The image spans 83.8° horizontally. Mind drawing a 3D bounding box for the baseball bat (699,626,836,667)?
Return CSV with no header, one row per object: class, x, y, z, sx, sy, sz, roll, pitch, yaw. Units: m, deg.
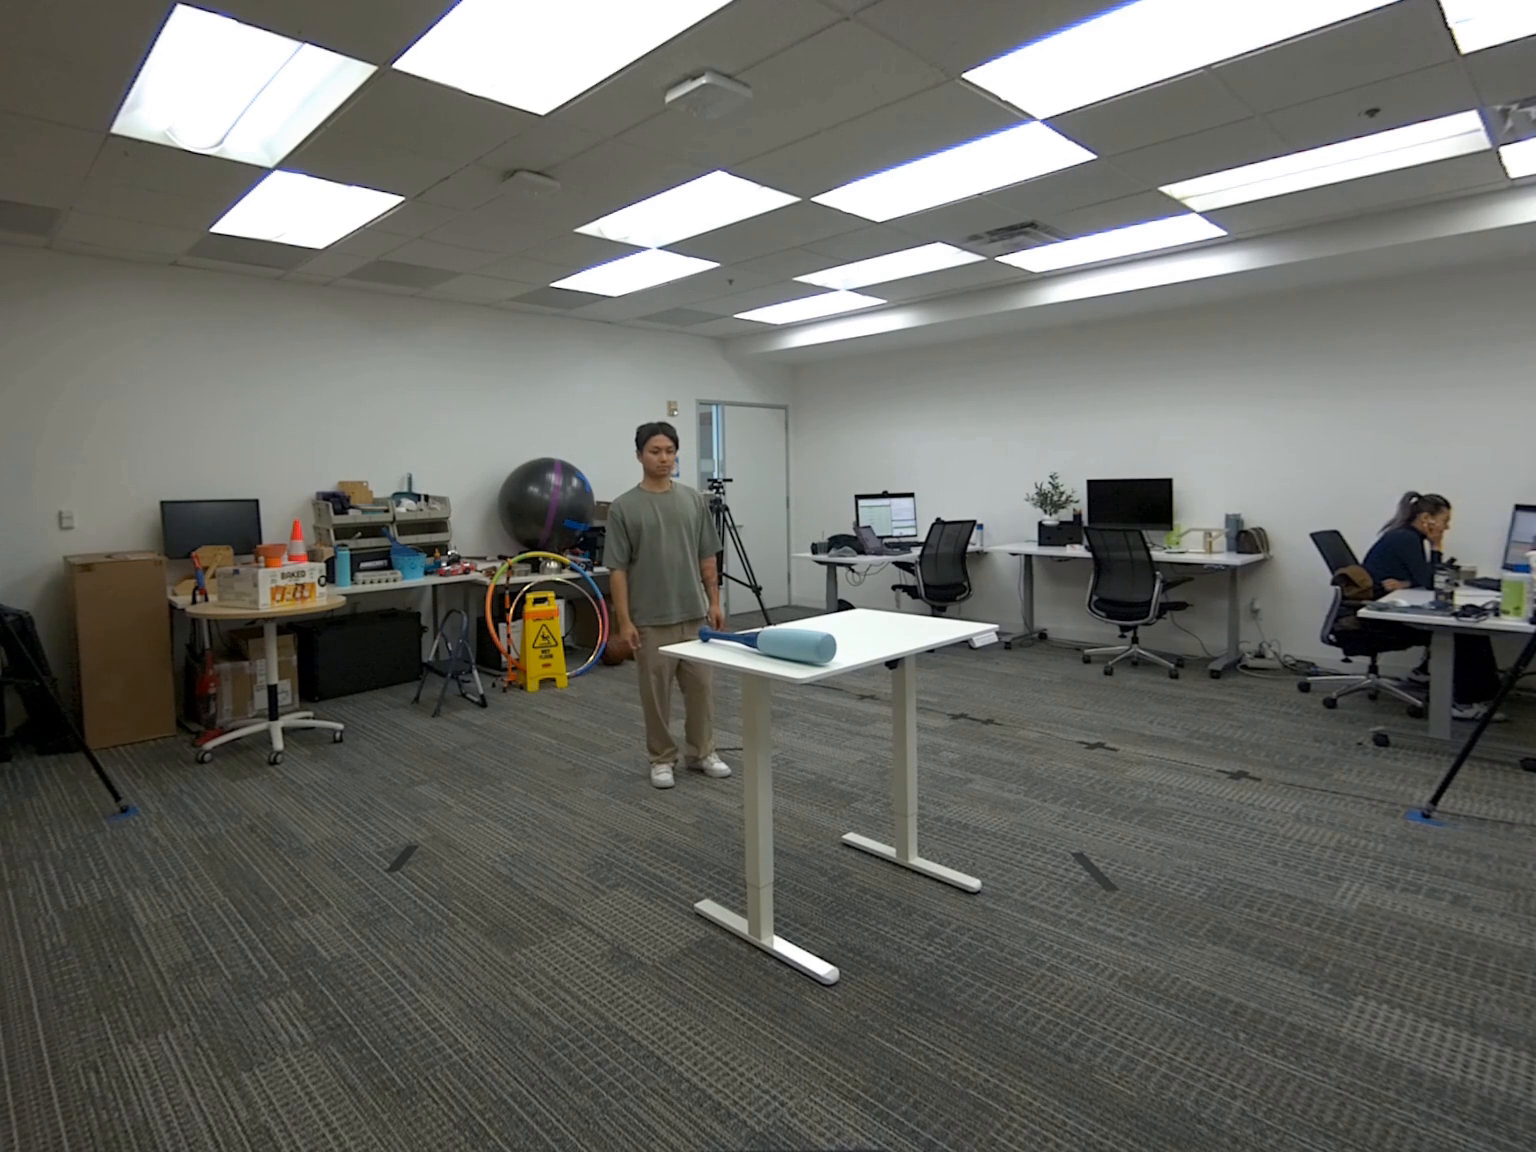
baseball bat,-0.021,0.196,2.527,0.087,0.089,0.559,-5,4,-43
